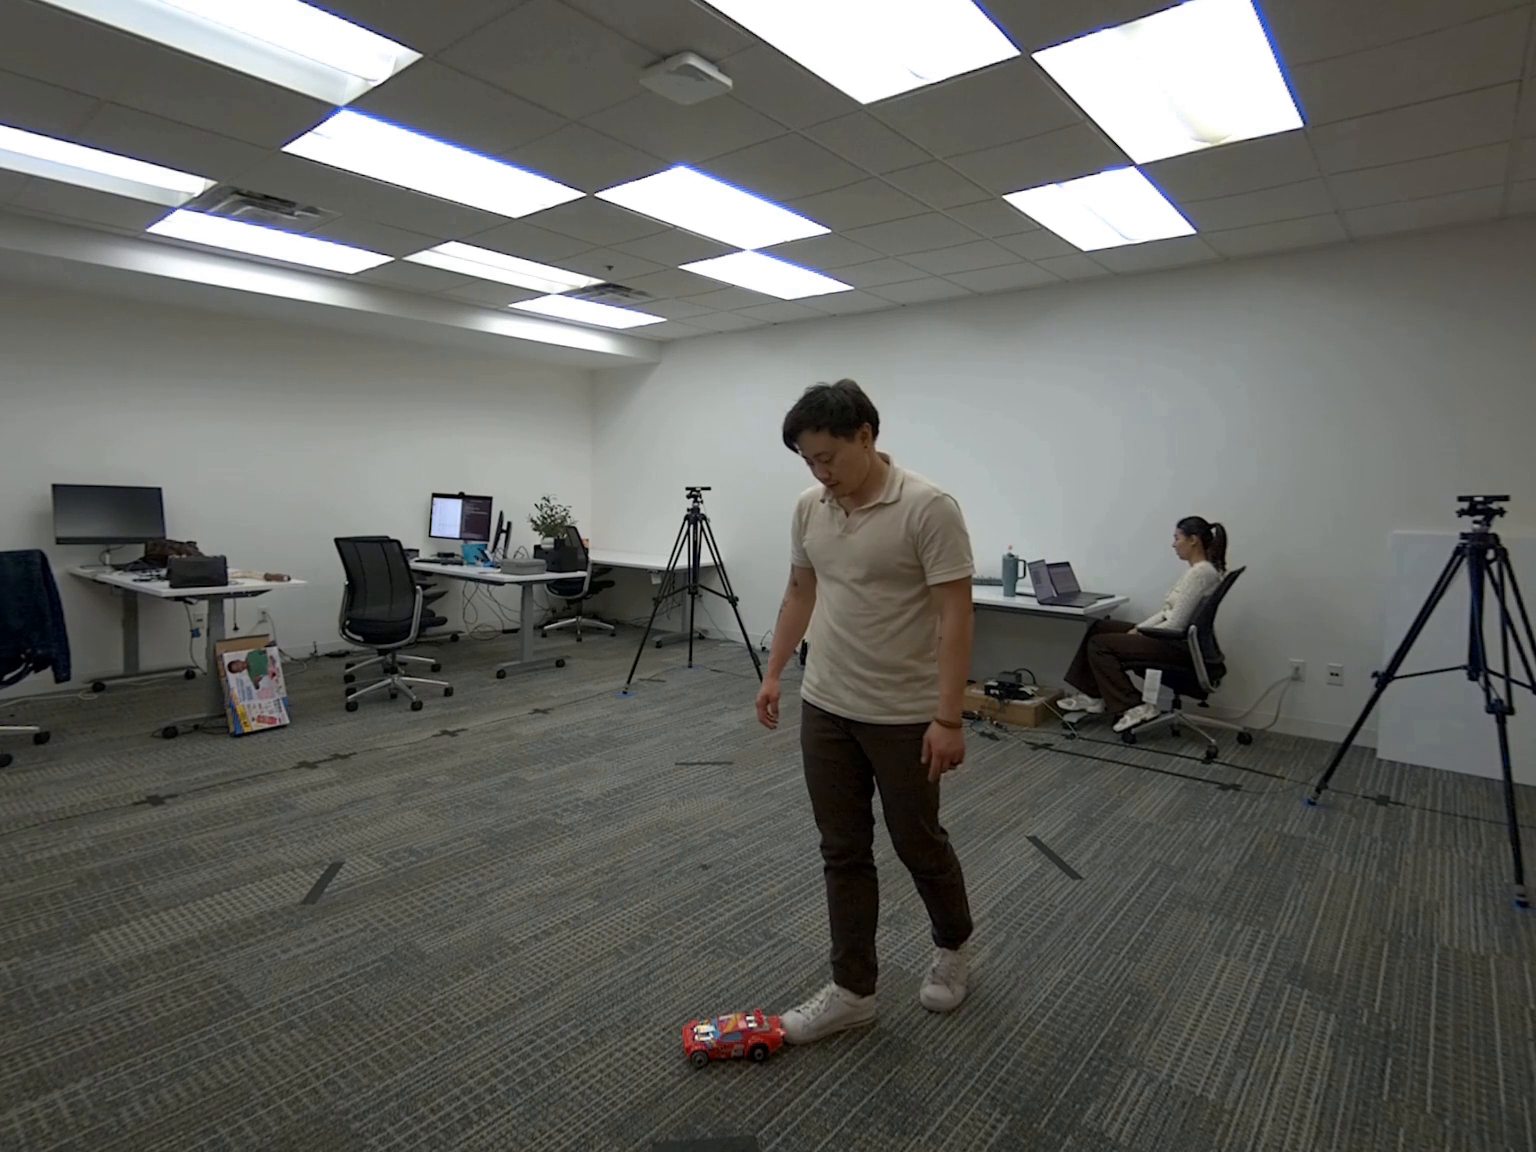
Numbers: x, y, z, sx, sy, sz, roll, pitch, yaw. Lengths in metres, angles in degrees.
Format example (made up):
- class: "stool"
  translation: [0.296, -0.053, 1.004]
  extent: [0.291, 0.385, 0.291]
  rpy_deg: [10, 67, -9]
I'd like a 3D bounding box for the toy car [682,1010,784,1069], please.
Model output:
- class: "toy car"
  translation: [-0.086, 1.144, 2.102]
  extent: [0.253, 0.083, 0.132]
  rpy_deg: [-11, 7, -7]
